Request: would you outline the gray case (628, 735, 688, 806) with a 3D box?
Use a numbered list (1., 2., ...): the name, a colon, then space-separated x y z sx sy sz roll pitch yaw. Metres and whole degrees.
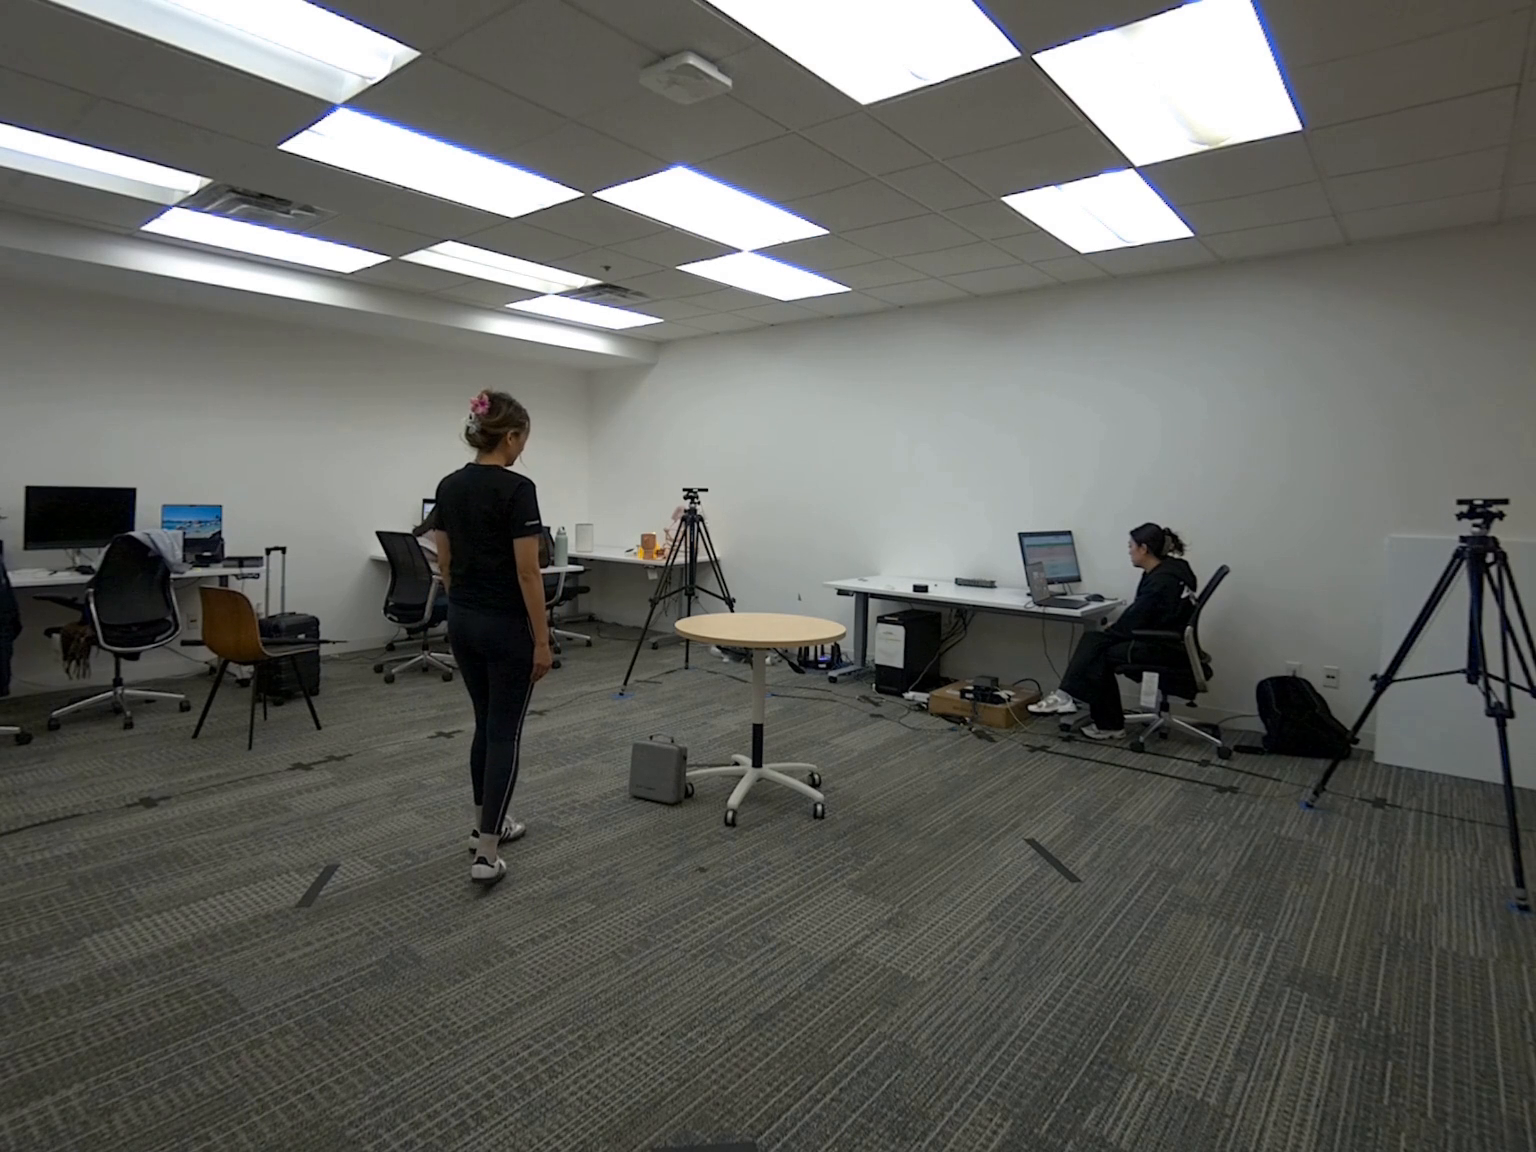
1. gray case: -0.508 0.862 3.819 0.264 0.261 0.101 3 -3 28
